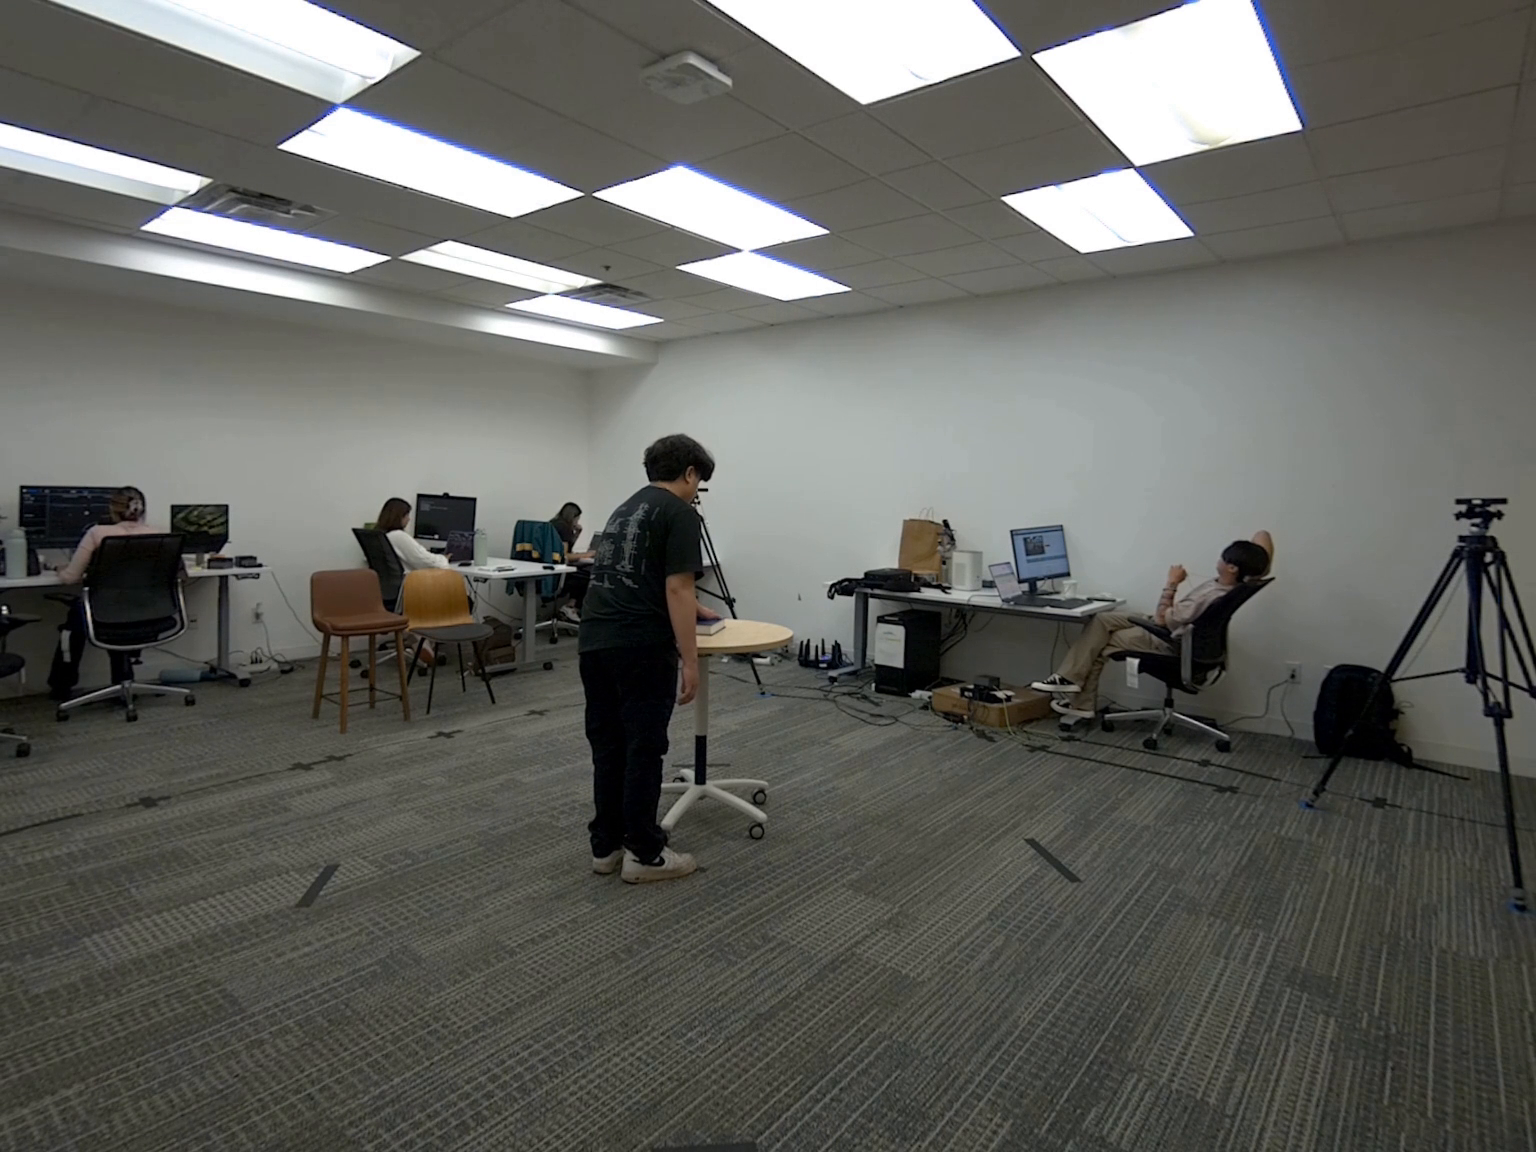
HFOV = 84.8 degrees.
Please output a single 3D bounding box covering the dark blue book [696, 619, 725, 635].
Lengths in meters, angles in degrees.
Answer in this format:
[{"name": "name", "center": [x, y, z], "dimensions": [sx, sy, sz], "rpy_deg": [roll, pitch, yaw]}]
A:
[{"name": "dark blue book", "center": [-0.290, 0.206, 3.616], "dimensions": [0.165, 0.045, 0.243], "rpy_deg": [1, 5, 11]}]
